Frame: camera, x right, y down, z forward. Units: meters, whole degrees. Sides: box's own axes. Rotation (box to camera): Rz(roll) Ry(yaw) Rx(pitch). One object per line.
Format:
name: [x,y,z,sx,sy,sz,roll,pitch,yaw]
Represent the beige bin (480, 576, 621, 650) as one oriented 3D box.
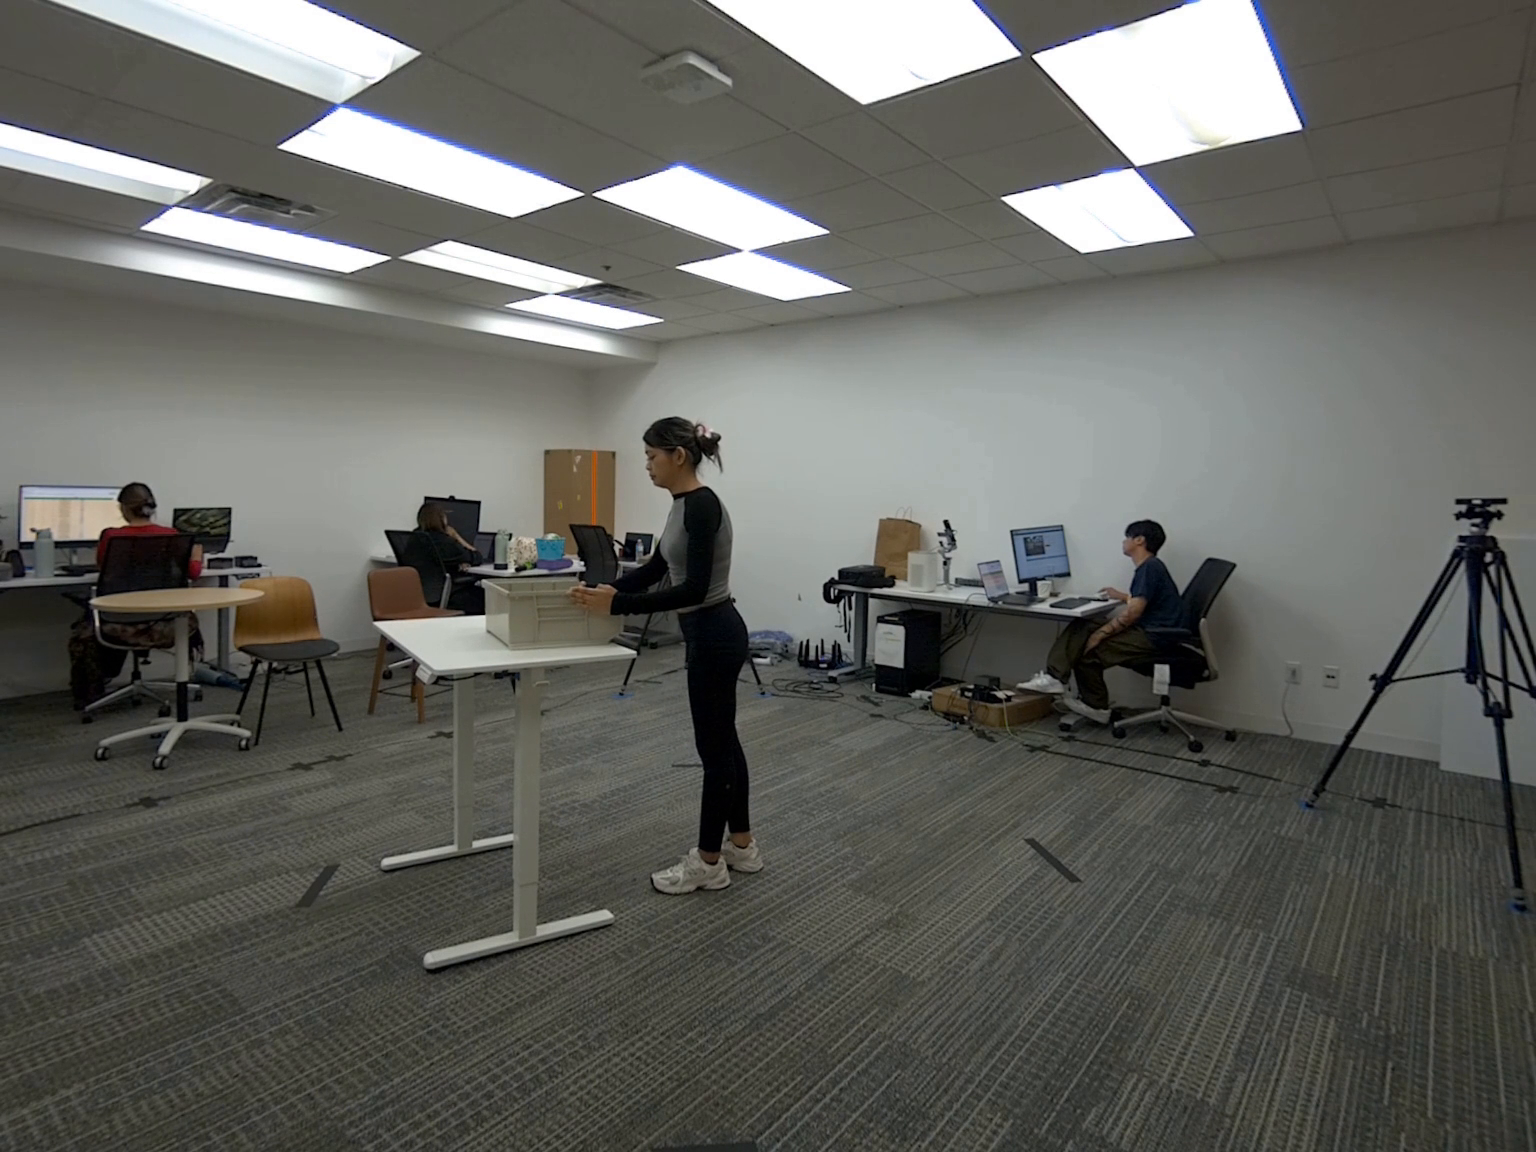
beige bin: [-0.742,0.116,2.839,0.368,0.188,0.434,-4,6,-27]
